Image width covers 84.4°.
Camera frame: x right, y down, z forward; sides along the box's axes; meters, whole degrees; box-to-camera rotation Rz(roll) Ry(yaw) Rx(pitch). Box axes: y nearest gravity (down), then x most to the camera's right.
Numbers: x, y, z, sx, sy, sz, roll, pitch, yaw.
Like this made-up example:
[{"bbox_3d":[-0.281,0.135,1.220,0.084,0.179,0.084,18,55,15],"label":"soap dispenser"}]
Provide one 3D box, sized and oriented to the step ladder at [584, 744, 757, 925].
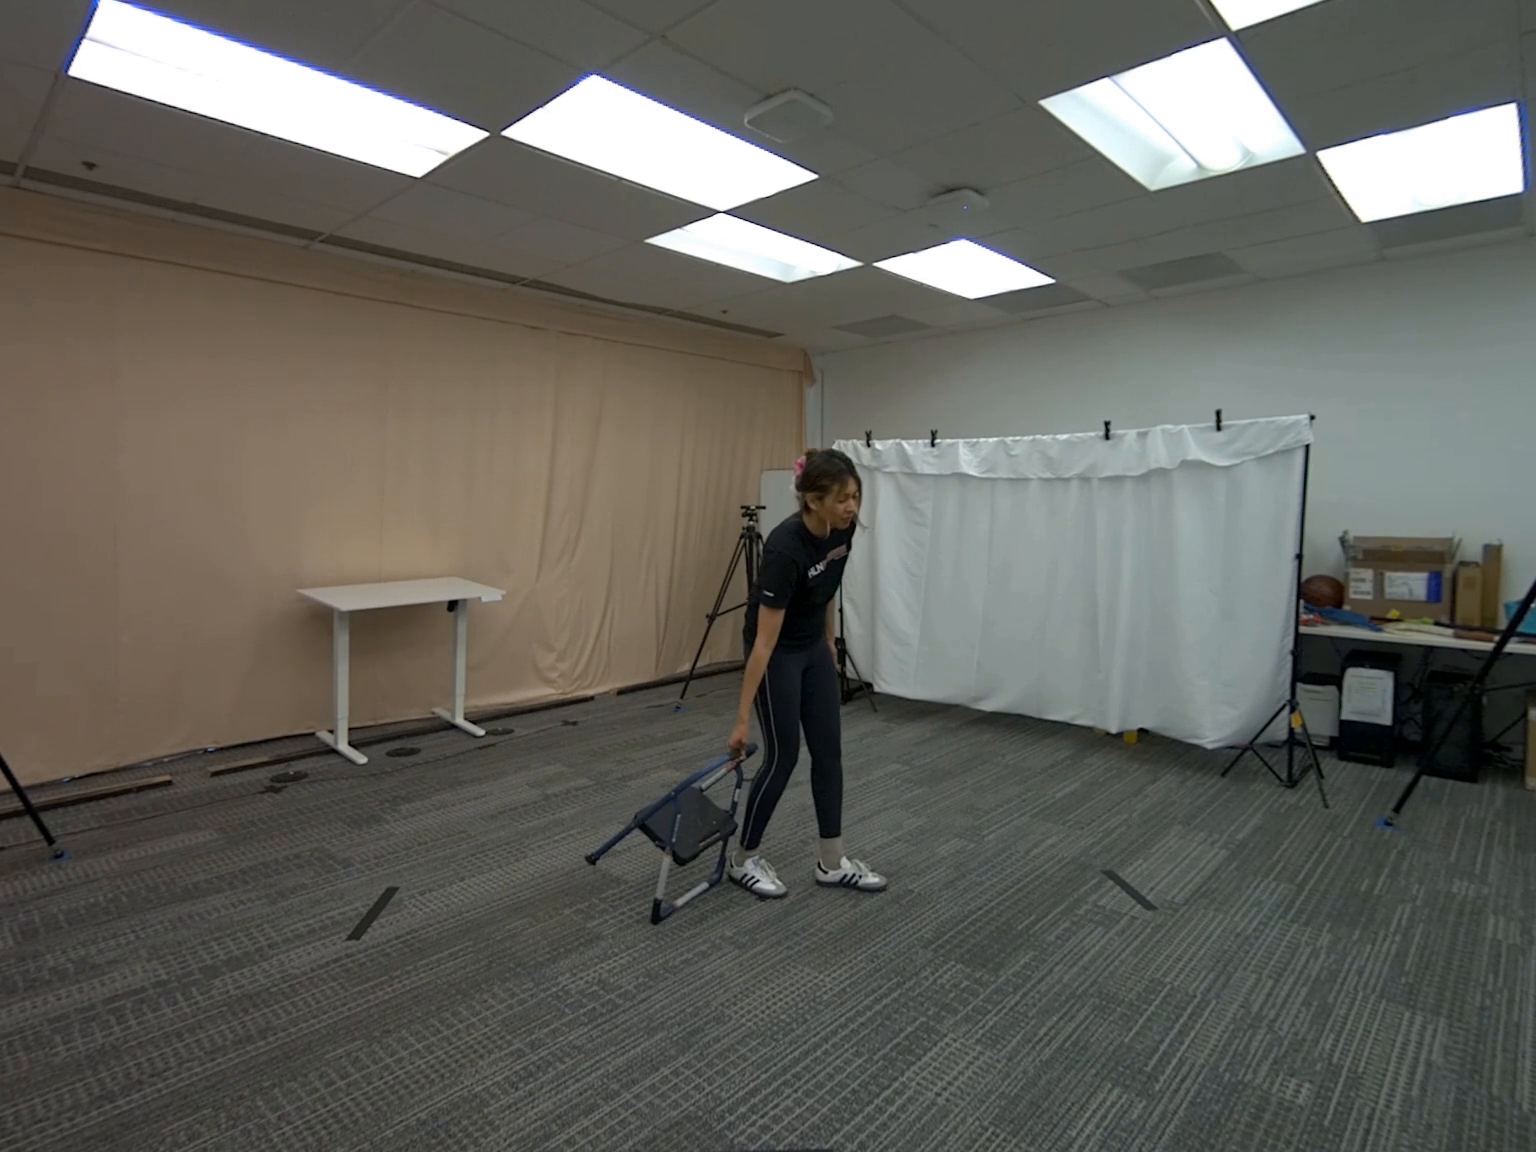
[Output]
[{"bbox_3d":[-0.282,0.807,2.945,0.359,0.605,0.419,35,20,24],"label":"step ladder"}]
